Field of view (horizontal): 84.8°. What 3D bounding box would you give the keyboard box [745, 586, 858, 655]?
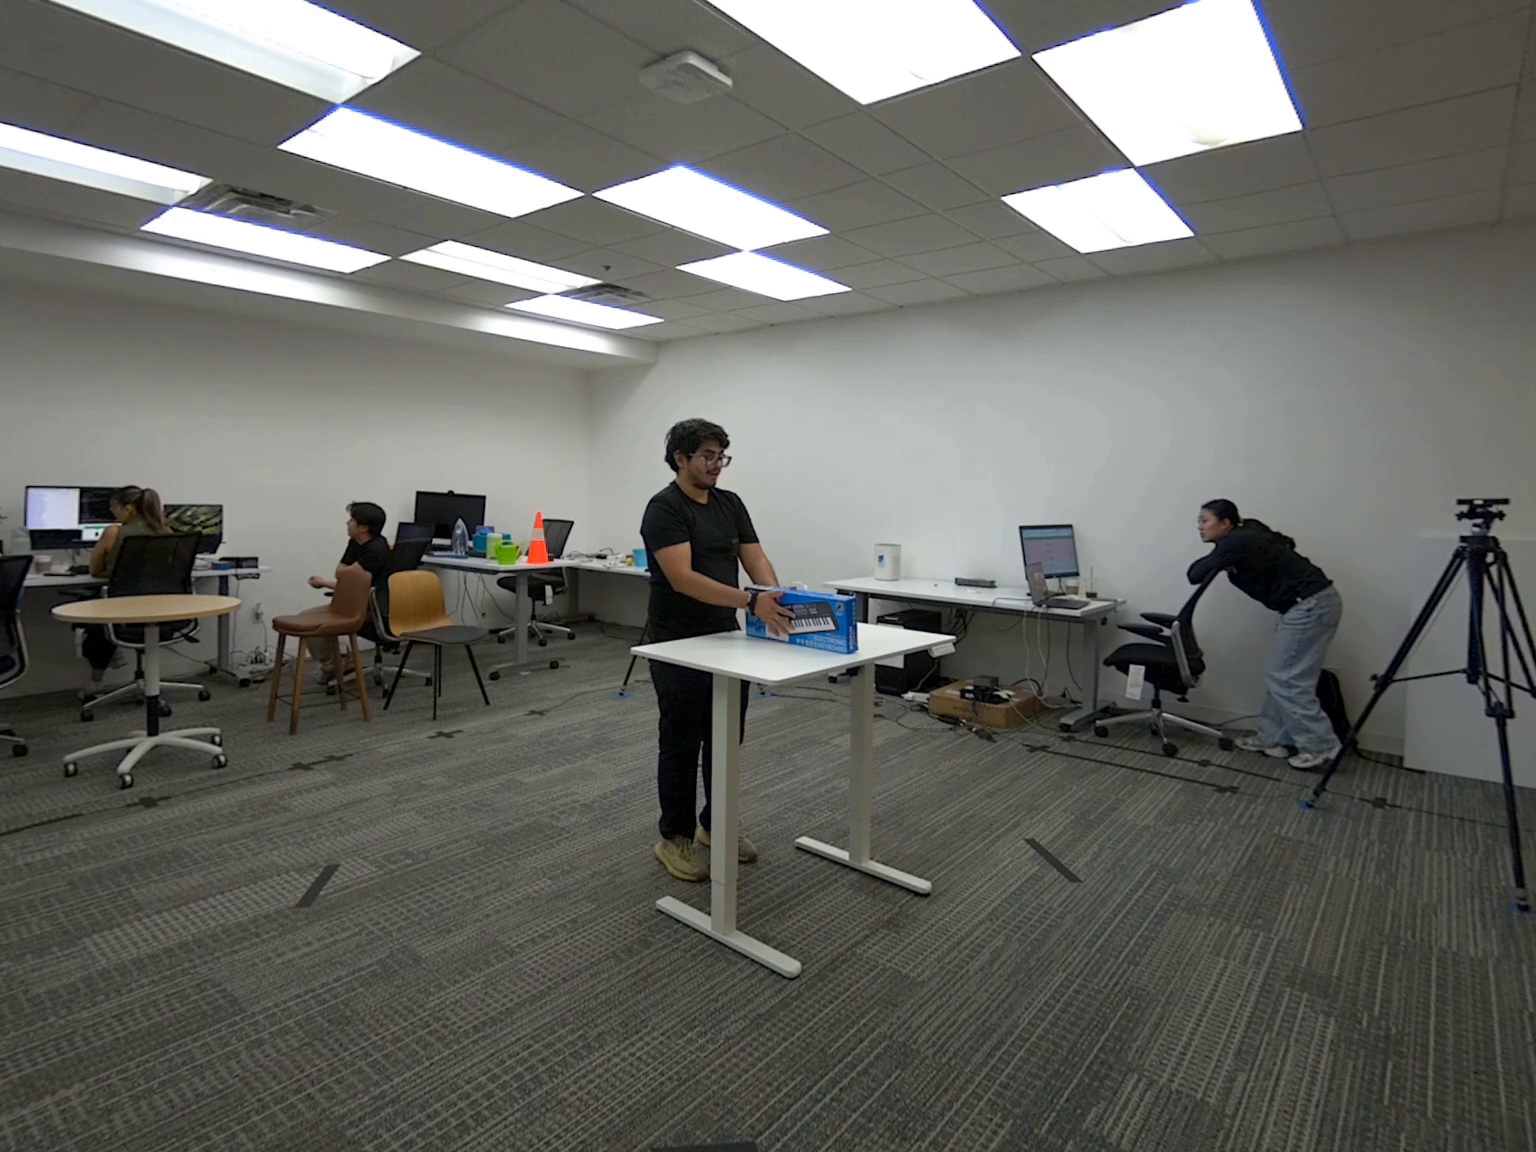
[{"bbox_3d":[0.097,0.138,2.805,0.452,0.175,0.057,6,10,44],"label":"keyboard box"}]
